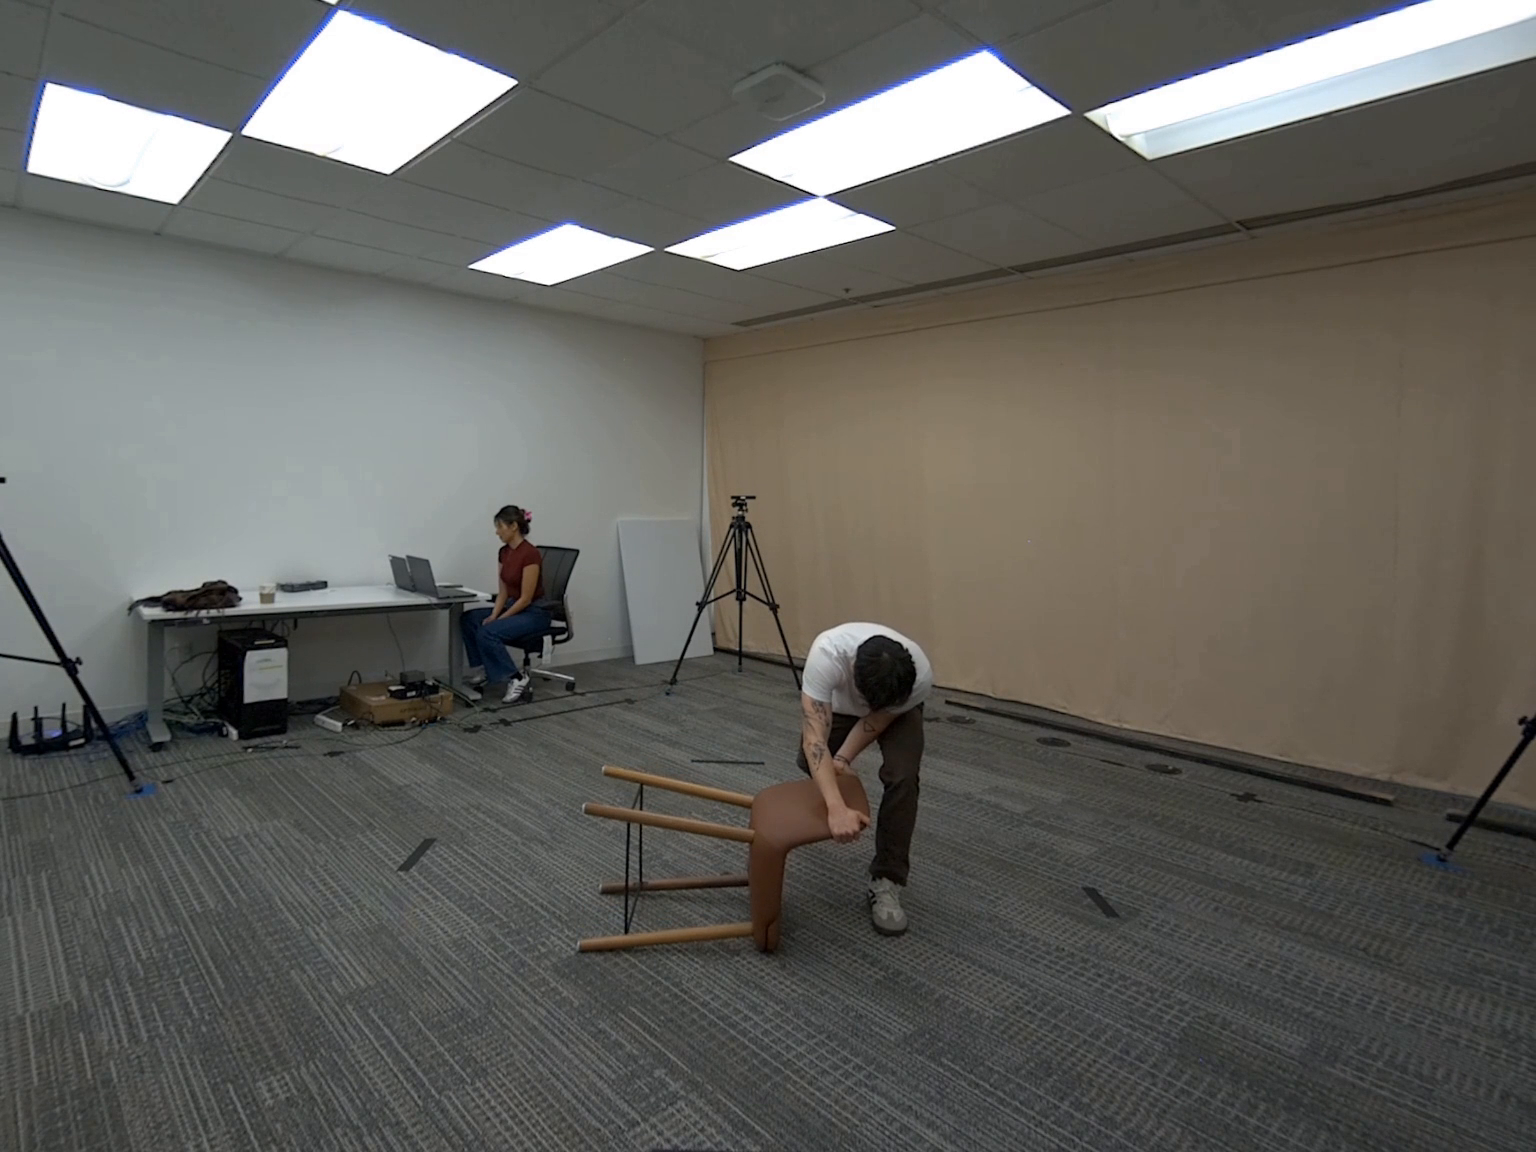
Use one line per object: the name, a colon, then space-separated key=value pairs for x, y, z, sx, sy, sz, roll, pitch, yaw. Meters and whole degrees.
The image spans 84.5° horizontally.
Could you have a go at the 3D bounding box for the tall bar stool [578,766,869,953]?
tall bar stool: x=-0.144 y=0.911 z=2.724 sx=0.890 sy=0.466 sz=0.458 roll=0 pitch=5 yaw=1
